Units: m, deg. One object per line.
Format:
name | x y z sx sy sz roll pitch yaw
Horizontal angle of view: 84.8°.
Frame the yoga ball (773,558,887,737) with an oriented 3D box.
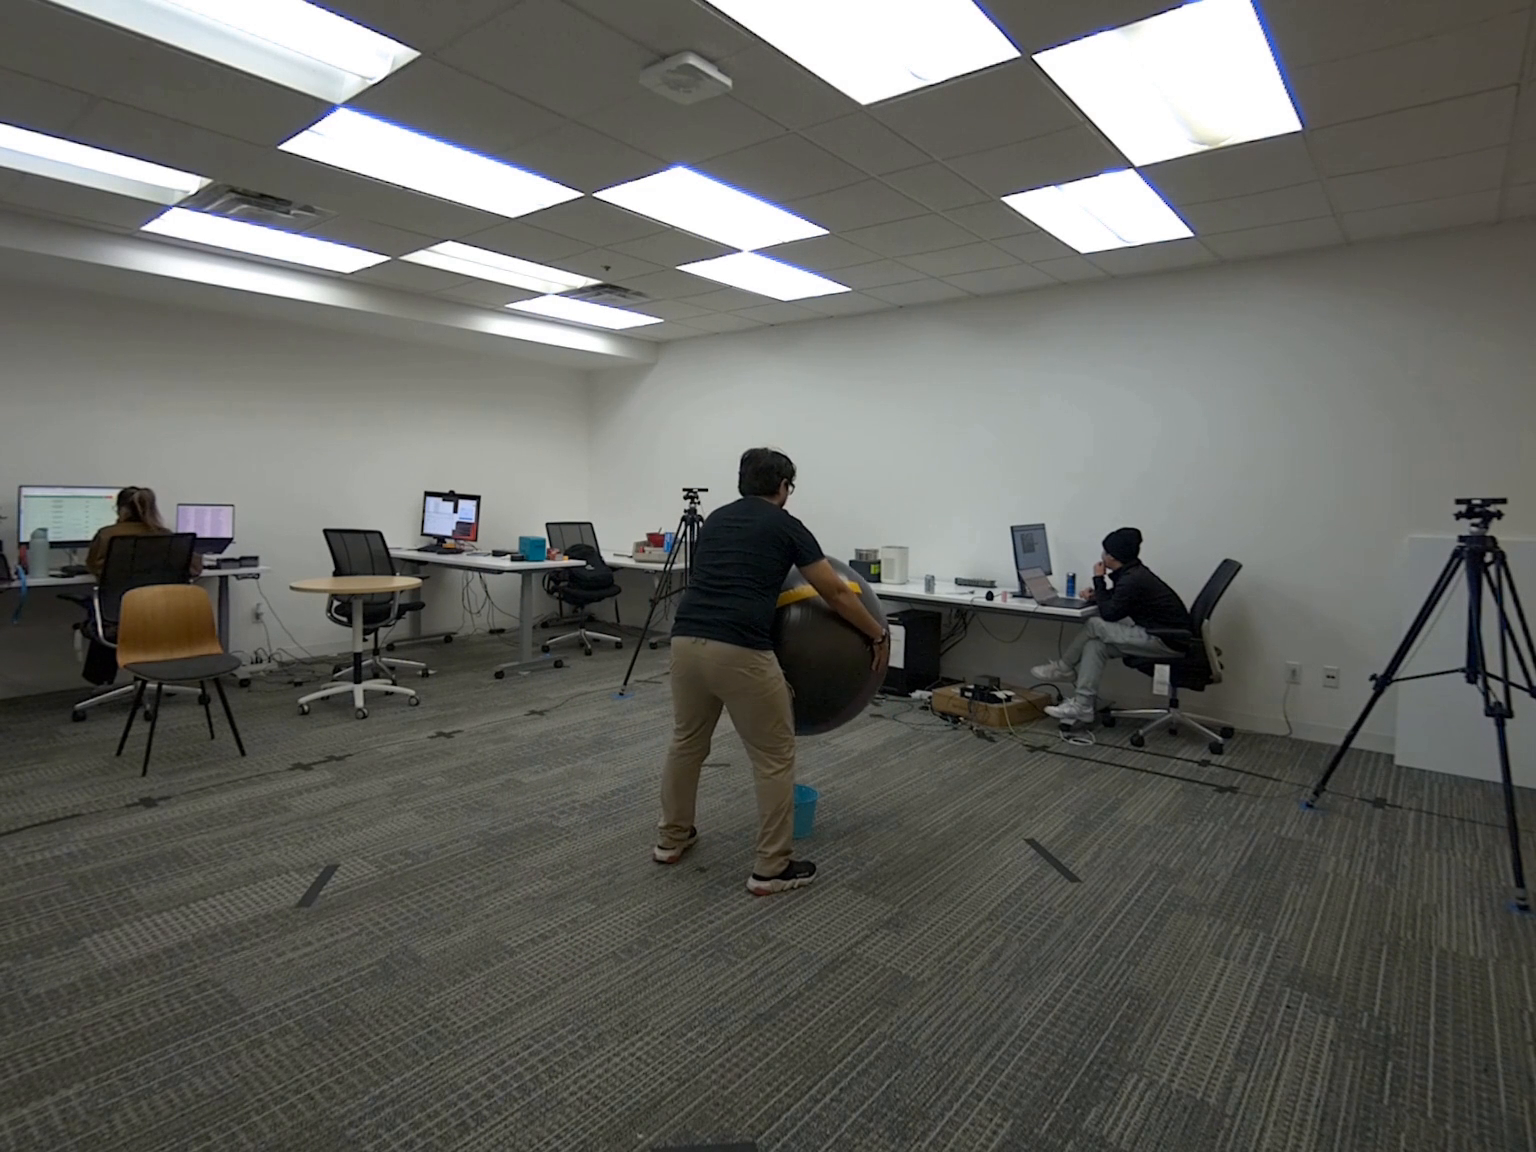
yoga ball | 0.126 0.276 3.510 0.757 0.755 0.762 1 4 -2
